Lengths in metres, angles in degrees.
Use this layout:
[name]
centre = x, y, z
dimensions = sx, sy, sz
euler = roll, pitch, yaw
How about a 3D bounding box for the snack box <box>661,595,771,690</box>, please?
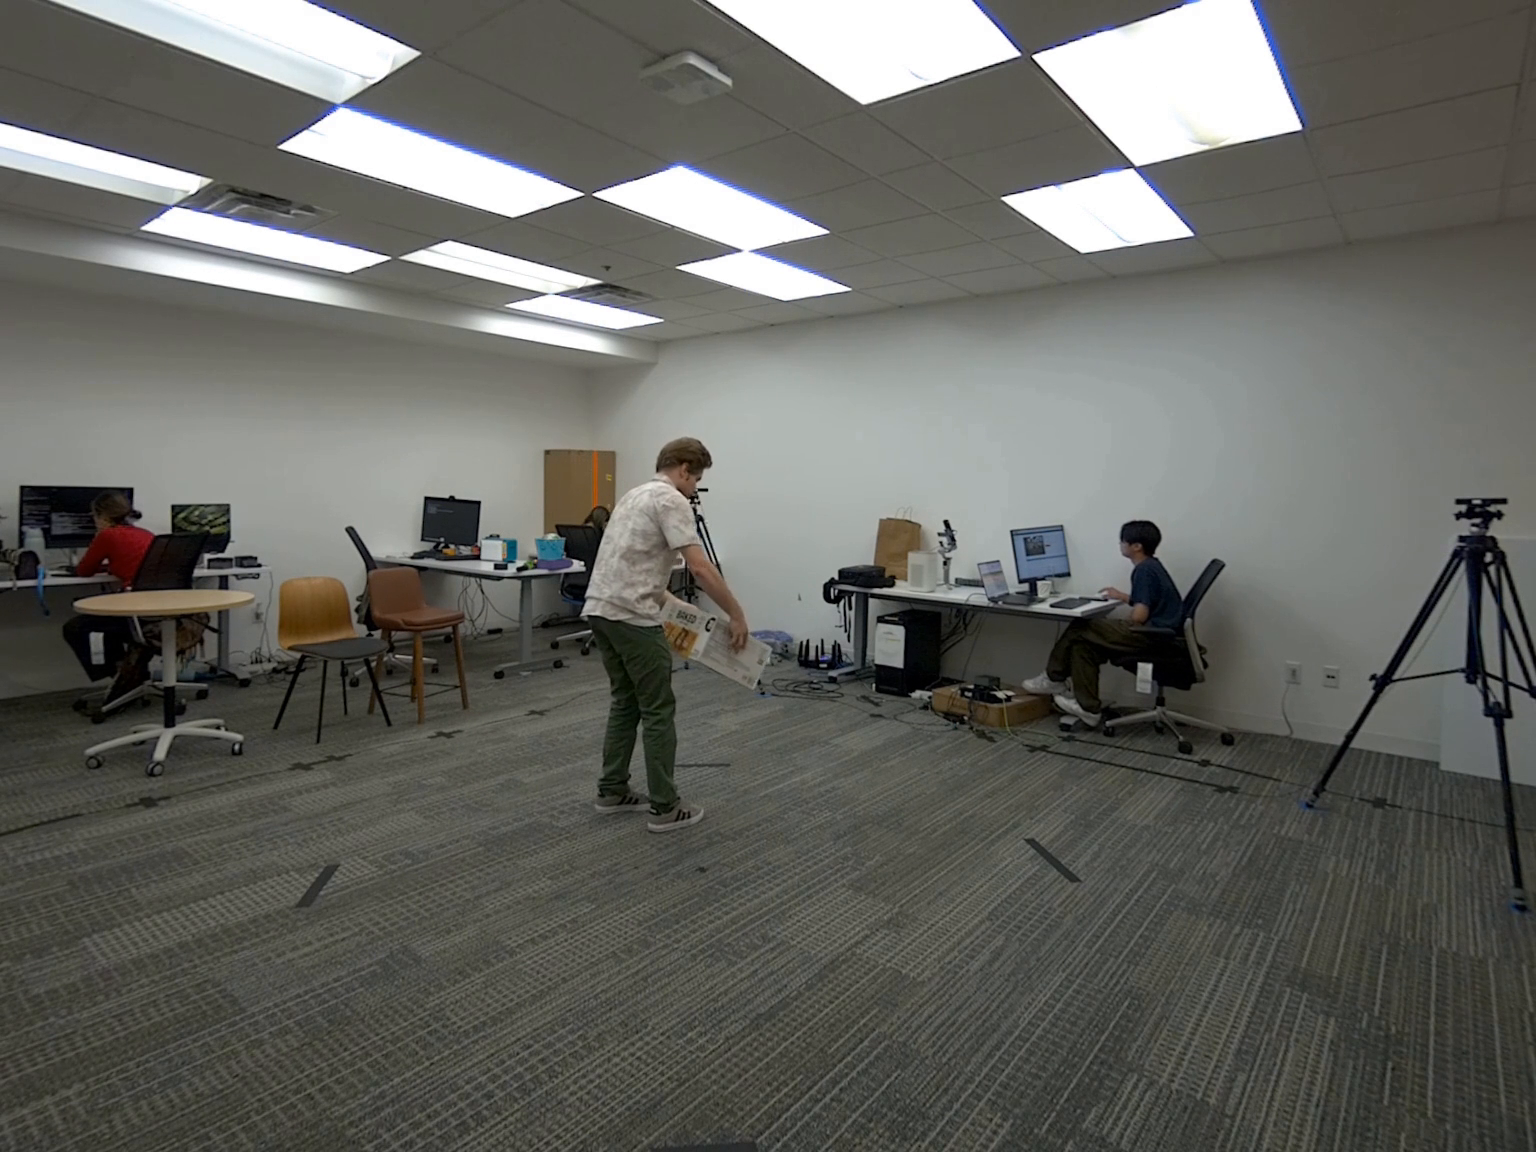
[snack box]
centre = -0.273, 0.301, 3.756
dimensions = 0.327, 0.206, 0.420
euler = 31, -10, -36
